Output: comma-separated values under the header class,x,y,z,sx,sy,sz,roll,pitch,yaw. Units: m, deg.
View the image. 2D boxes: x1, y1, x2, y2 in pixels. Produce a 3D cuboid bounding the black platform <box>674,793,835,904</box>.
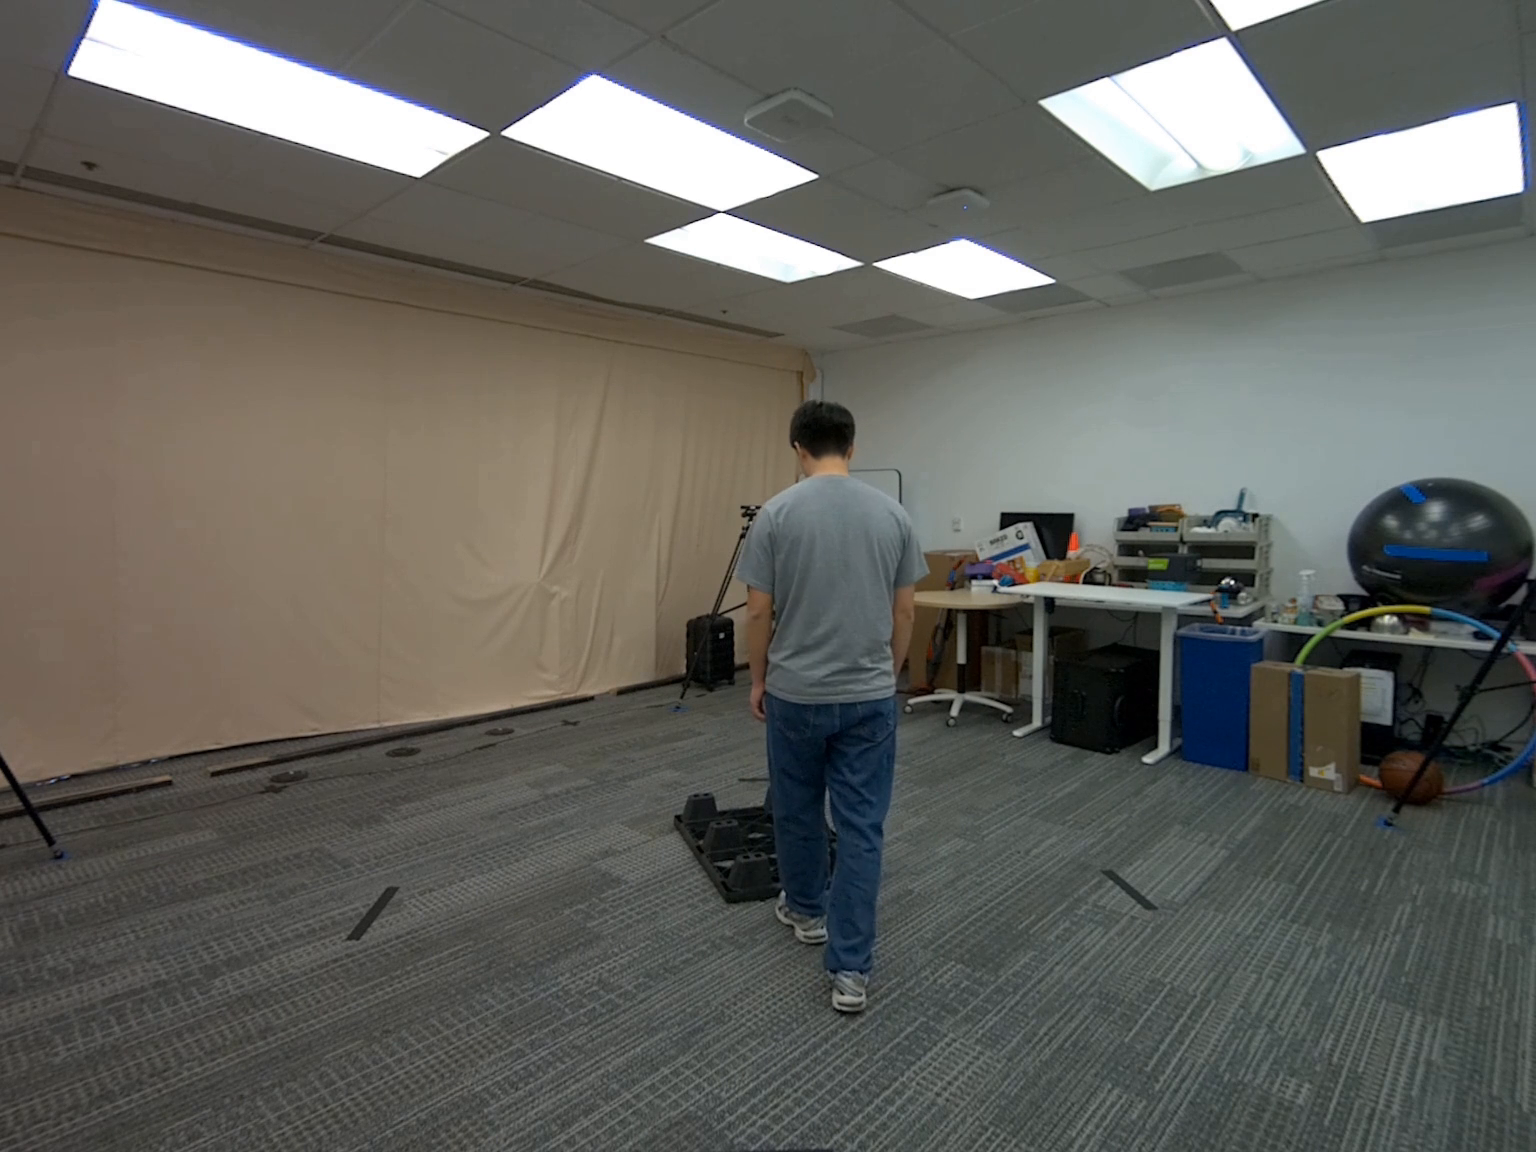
class,x,y,z,sx,sy,sz,roll,pitch,yaw
black platform,-0.003,1.039,3.397,0.594,0.143,0.823,-1,4,-20
